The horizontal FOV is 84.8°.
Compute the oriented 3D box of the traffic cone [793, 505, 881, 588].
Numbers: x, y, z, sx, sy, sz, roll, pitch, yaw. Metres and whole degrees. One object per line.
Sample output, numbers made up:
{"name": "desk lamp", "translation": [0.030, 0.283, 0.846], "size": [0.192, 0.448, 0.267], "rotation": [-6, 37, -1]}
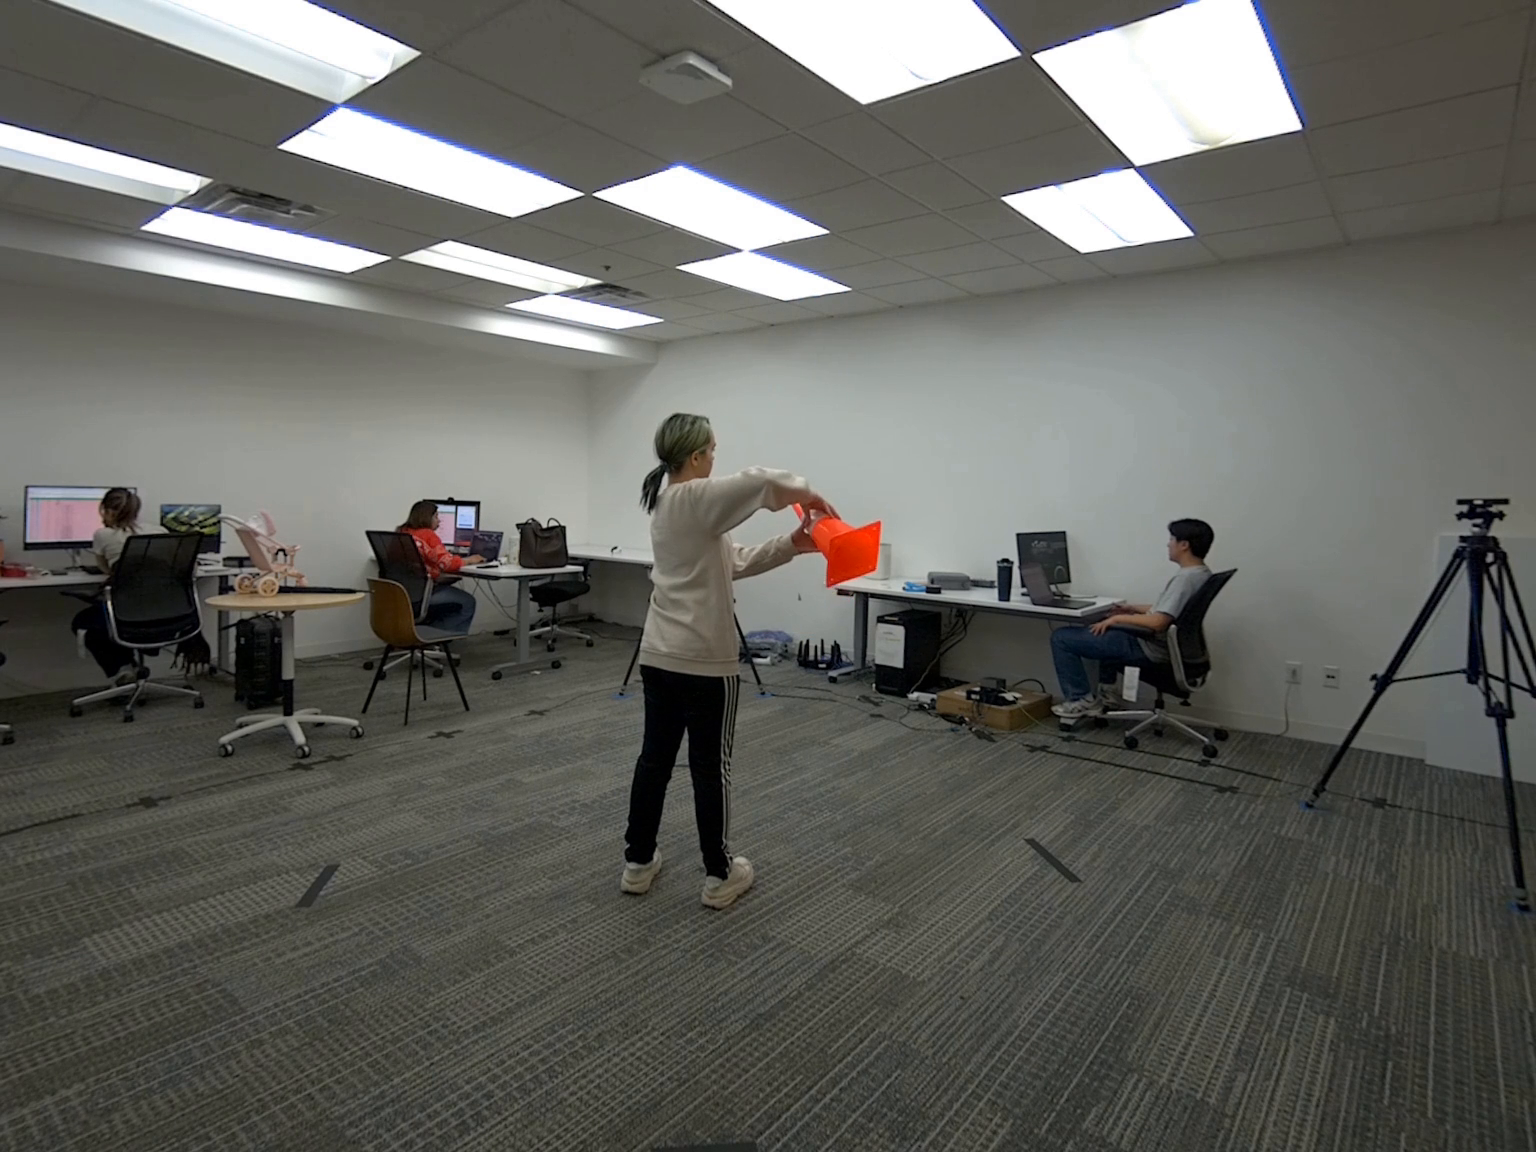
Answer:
{"name": "traffic cone", "translation": [0.167, -0.158, 2.832], "size": [0.200, 0.199, 0.400], "rotation": [-17, 40, -25]}
